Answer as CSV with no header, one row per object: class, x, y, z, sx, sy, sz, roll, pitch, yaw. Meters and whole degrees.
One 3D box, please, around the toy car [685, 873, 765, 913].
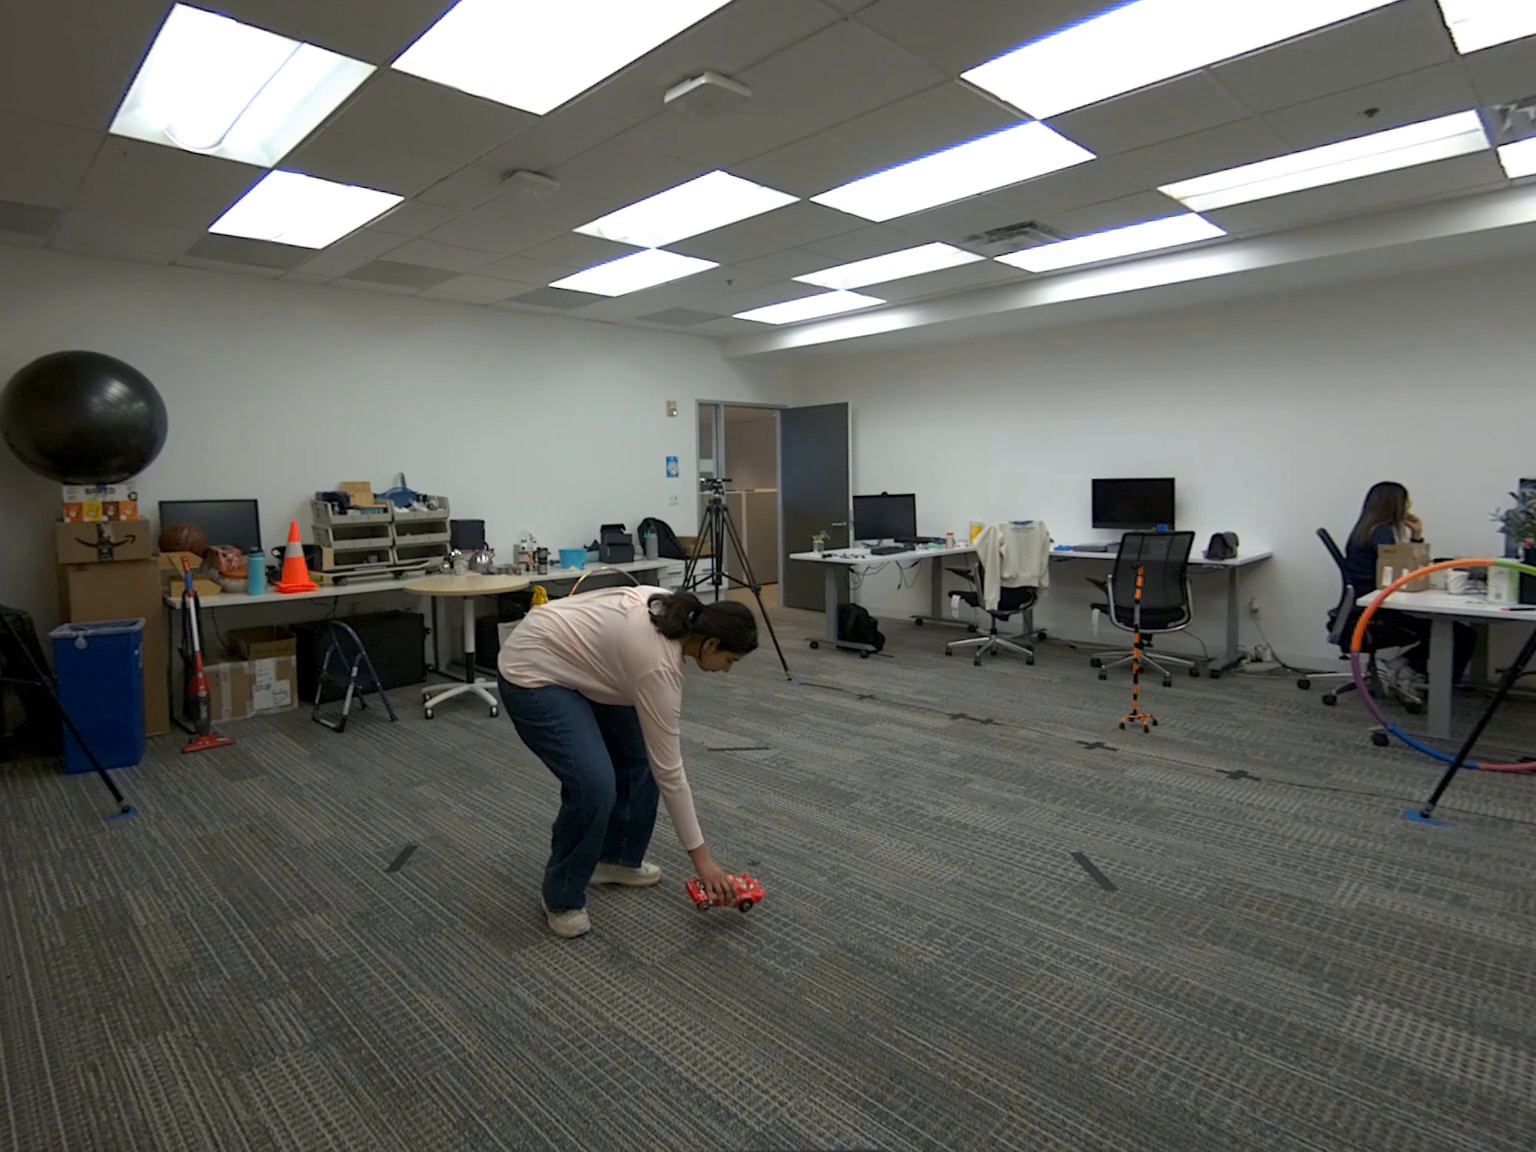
toy car,-0.122,0.990,2.667,0.249,0.082,0.134,-3,17,-23
